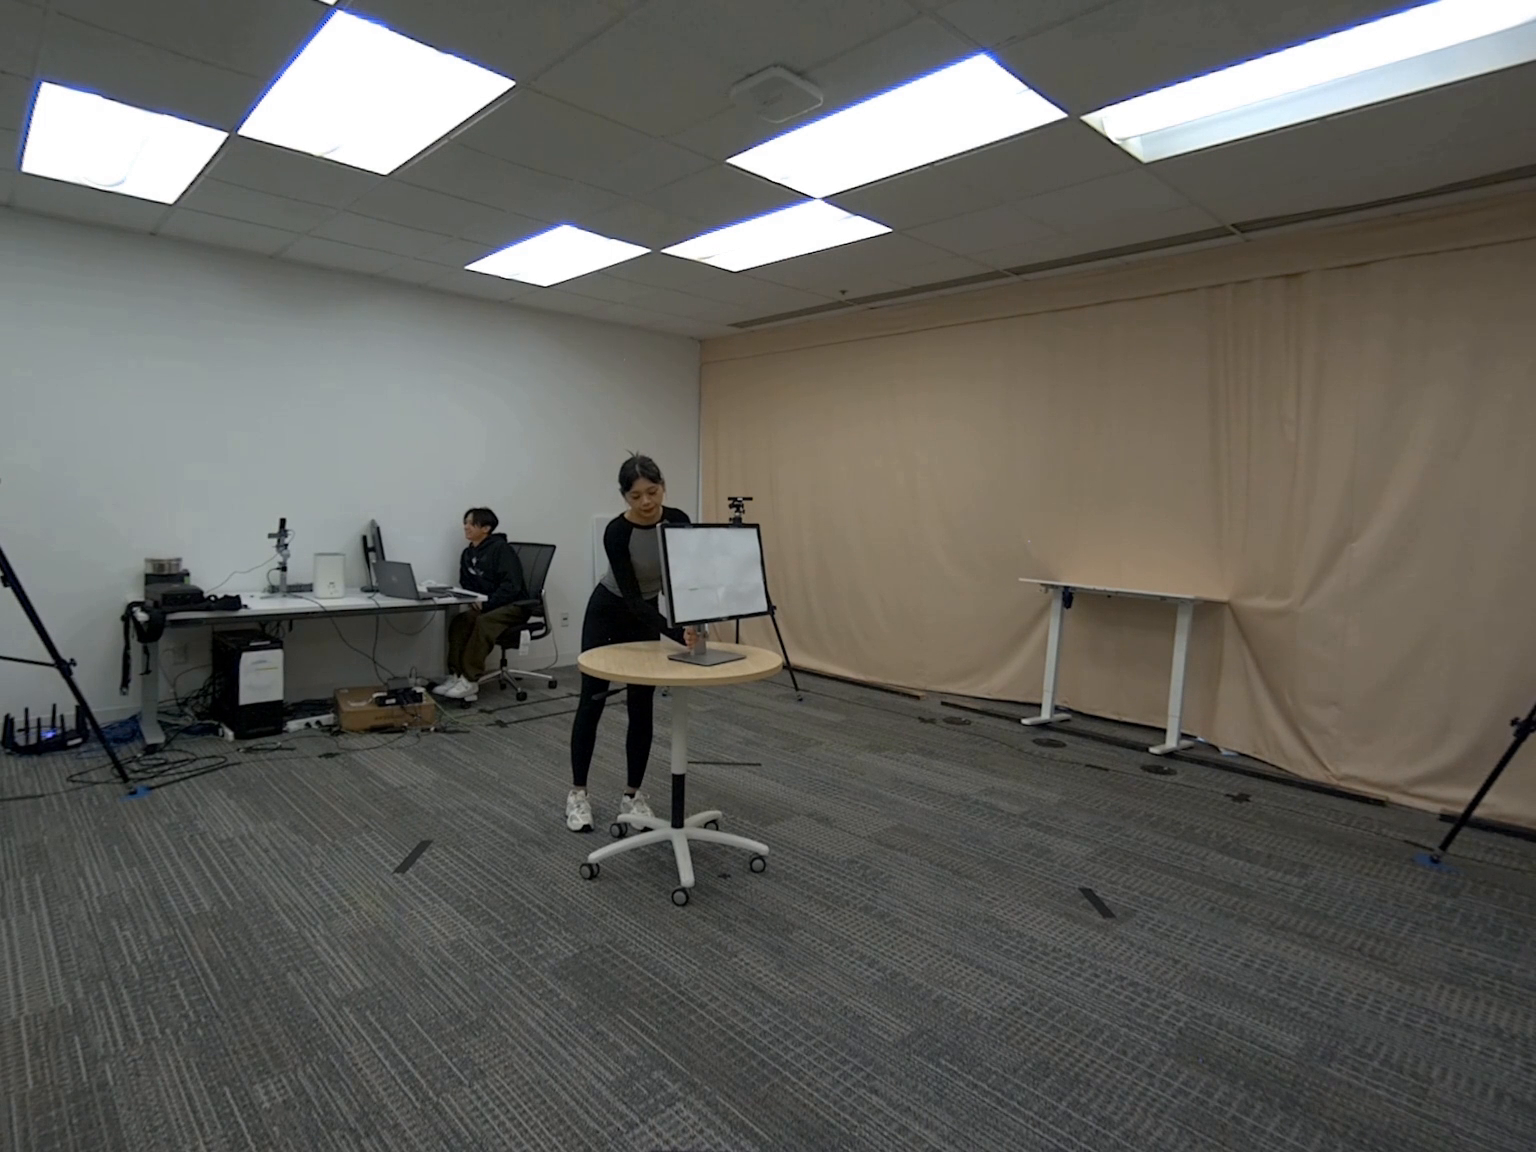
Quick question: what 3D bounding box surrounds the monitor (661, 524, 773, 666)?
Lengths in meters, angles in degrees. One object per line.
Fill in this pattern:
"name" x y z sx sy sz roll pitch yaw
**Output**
"monitor" -0.231 0.066 3.140 0.192 0.520 0.527 8 7 36
